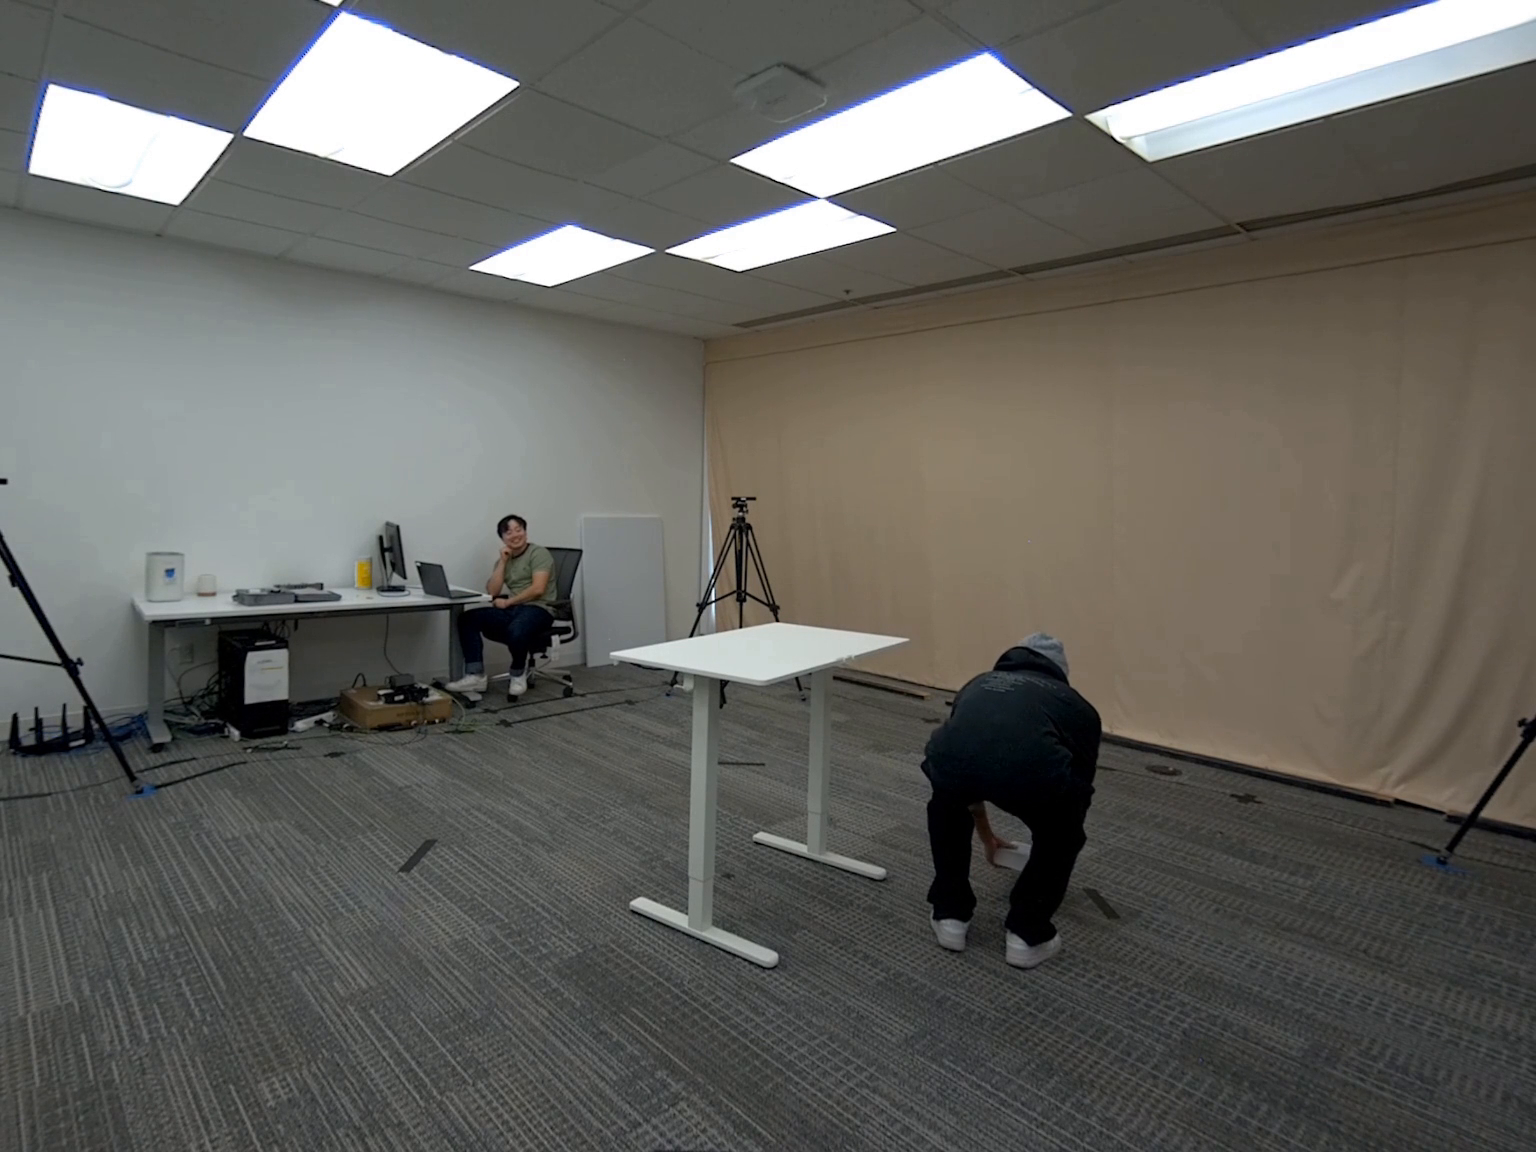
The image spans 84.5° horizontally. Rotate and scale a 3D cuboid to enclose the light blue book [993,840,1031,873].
[{"bbox_3d":[0.939,1.017,3.041,0.196,0.059,0.254,5,-7,30],"label":"light blue book"}]
